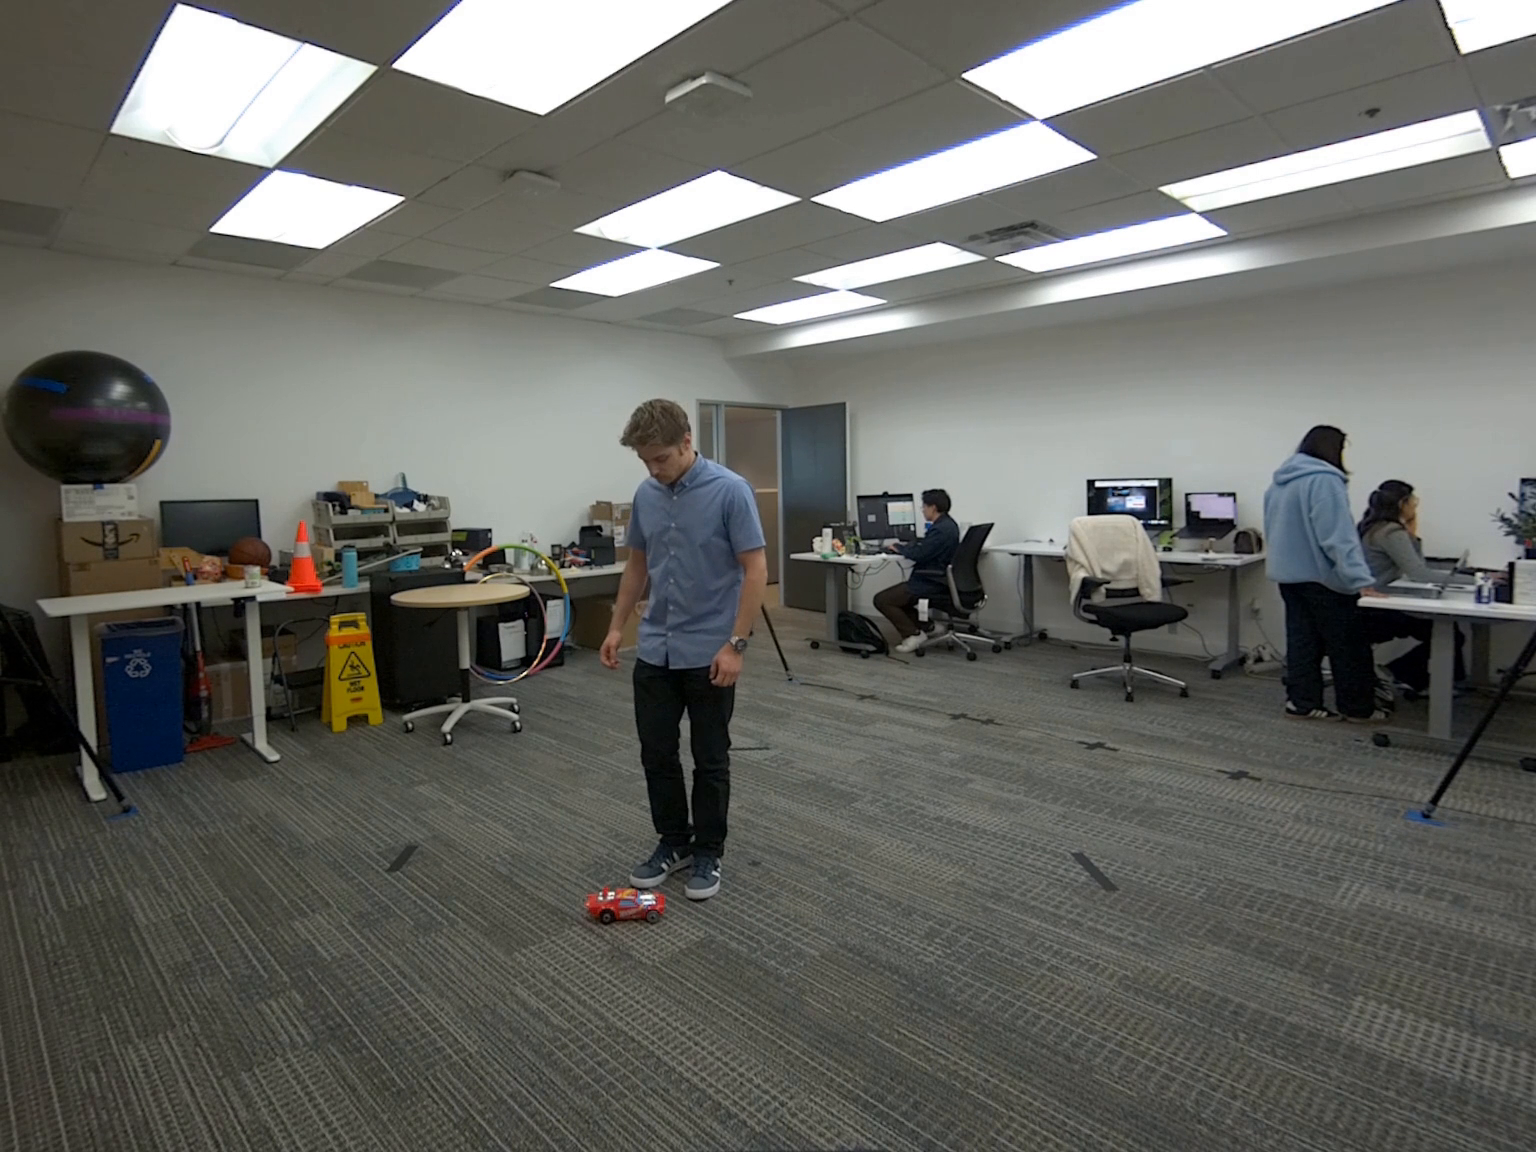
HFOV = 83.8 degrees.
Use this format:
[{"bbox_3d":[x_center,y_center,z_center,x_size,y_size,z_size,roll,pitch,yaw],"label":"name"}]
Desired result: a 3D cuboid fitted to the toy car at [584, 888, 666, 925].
[{"bbox_3d":[-0.461,1.062,2.752,0.254,0.083,0.131,11,4,-2],"label":"toy car"}]
